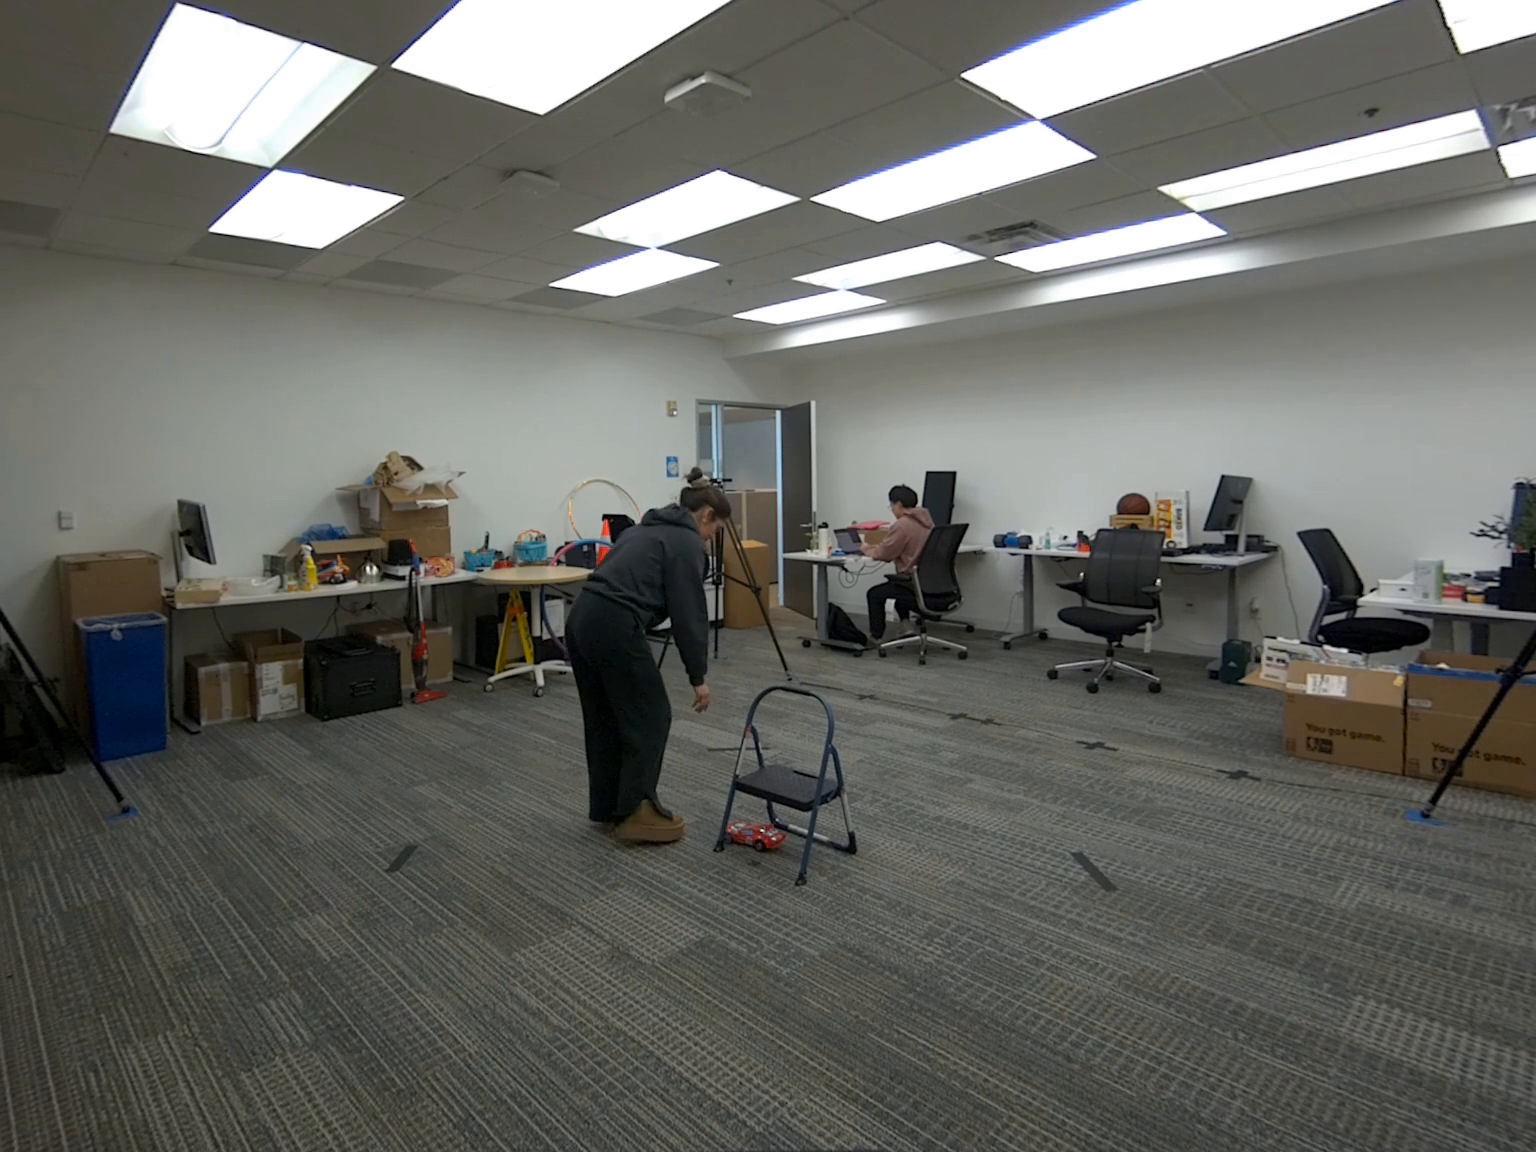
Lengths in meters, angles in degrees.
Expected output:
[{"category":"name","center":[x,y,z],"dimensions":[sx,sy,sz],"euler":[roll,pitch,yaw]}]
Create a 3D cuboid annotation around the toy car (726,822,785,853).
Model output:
[{"category":"toy car","center":[-0.047,0.993,3.244],"dimensions":[0.260,0.083,0.127],"euler":[-9,0,33]}]
